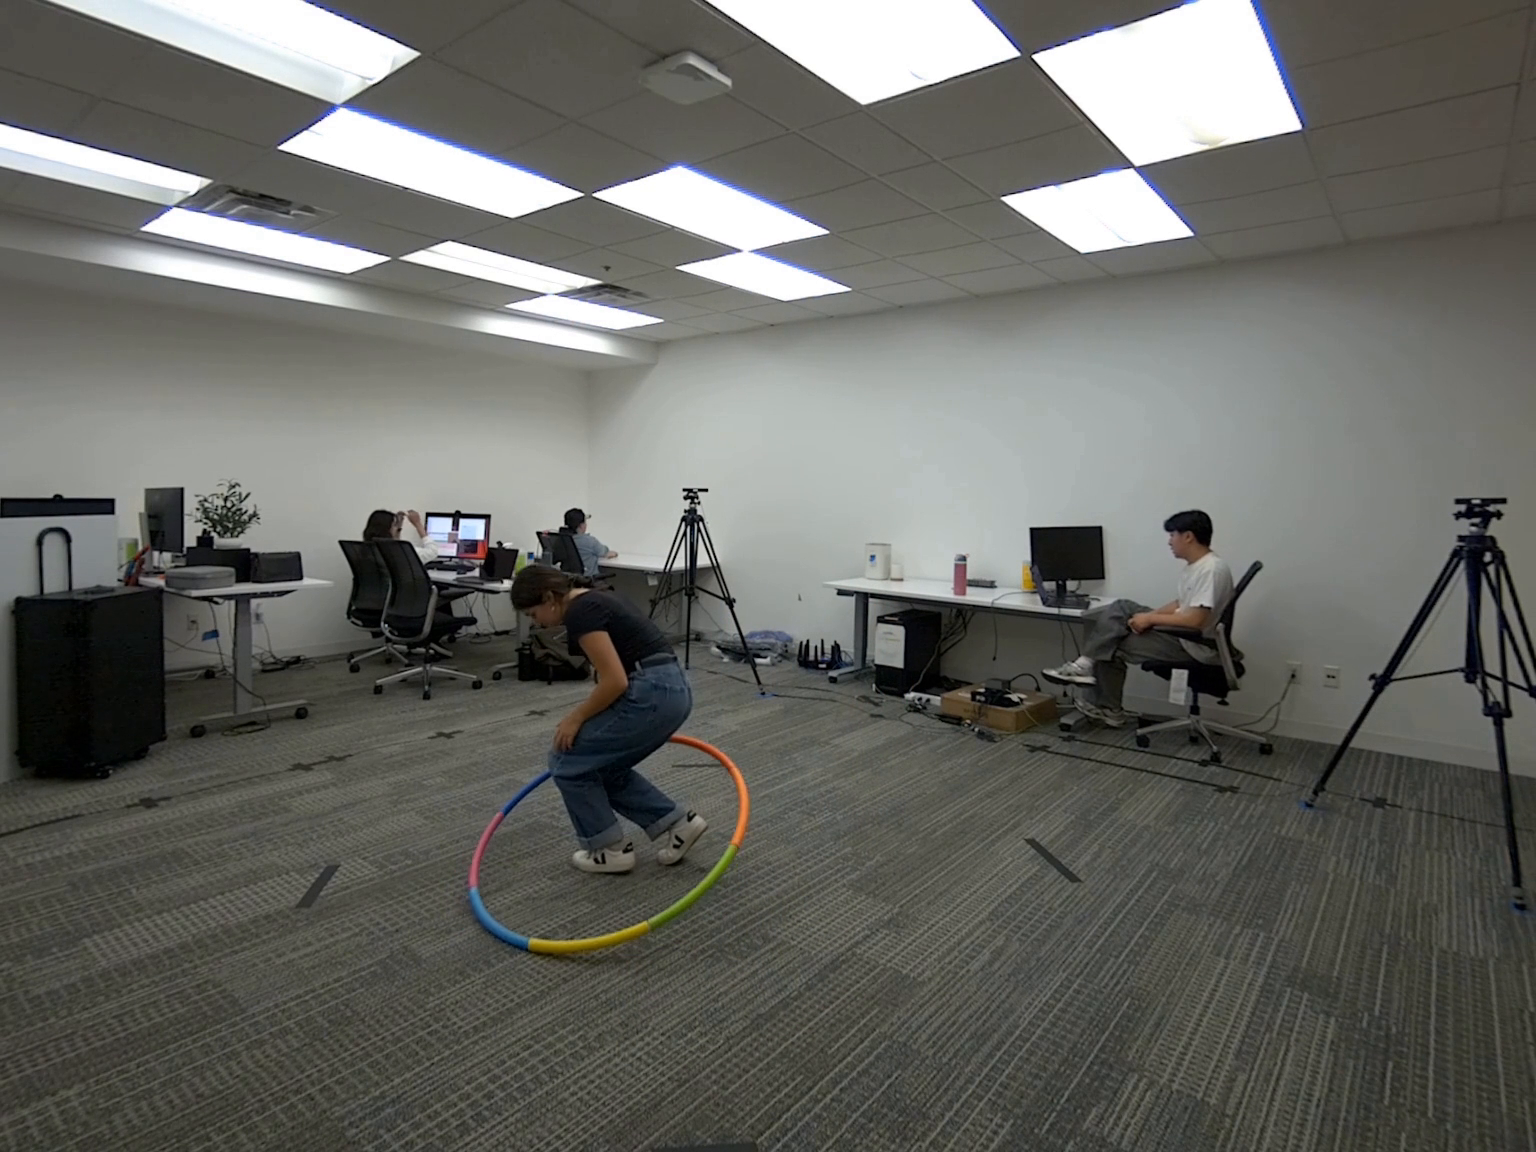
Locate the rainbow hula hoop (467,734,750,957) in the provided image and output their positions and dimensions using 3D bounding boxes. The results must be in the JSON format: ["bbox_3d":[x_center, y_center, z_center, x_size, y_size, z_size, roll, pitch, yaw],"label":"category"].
[{"bbox_3d":[-0.545,0.865,2.943,0.982,0.034,1.001,-12,26,4],"label":"rainbow hula hoop"}]
